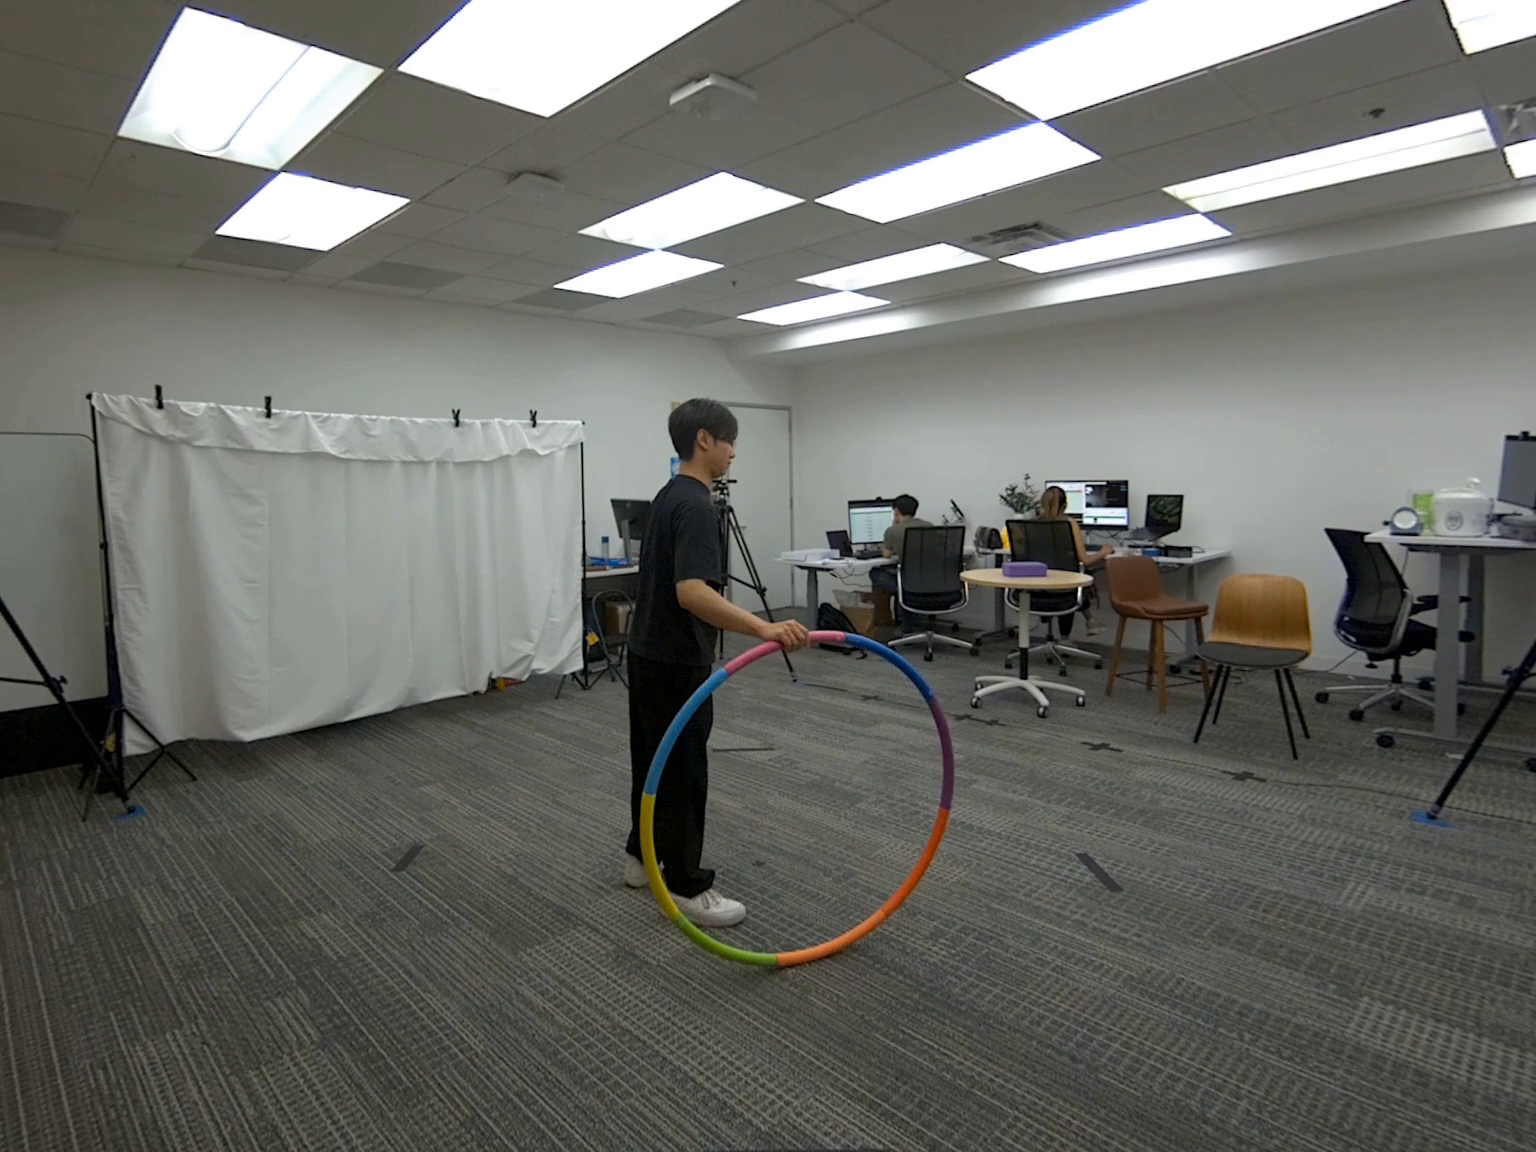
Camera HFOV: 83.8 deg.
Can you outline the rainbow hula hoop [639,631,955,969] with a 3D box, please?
[{"bbox_3d":[0.119,0.631,2.431,0.960,0.973,0.036,-3,6,-21],"label":"rainbow hula hoop"}]
